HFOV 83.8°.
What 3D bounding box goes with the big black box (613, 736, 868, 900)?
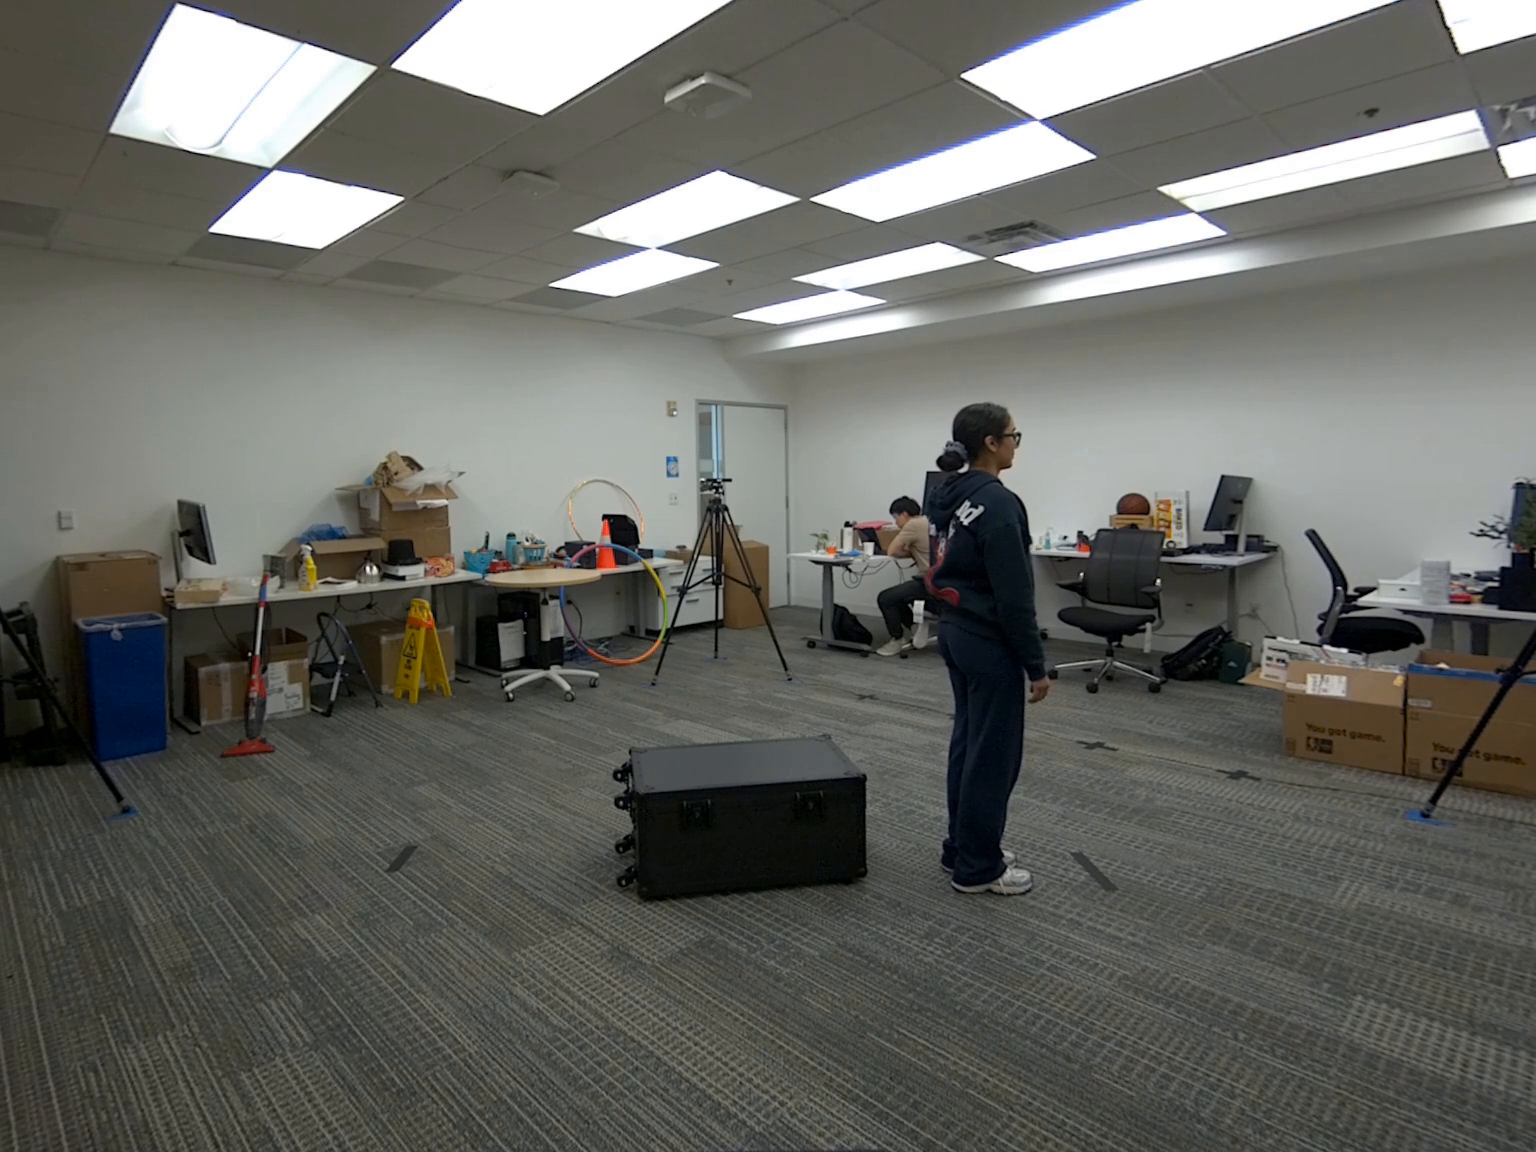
[{"bbox_3d":[-0.126,0.854,3.095,0.853,0.395,0.528,-2,5,-10],"label":"big black box"}]
